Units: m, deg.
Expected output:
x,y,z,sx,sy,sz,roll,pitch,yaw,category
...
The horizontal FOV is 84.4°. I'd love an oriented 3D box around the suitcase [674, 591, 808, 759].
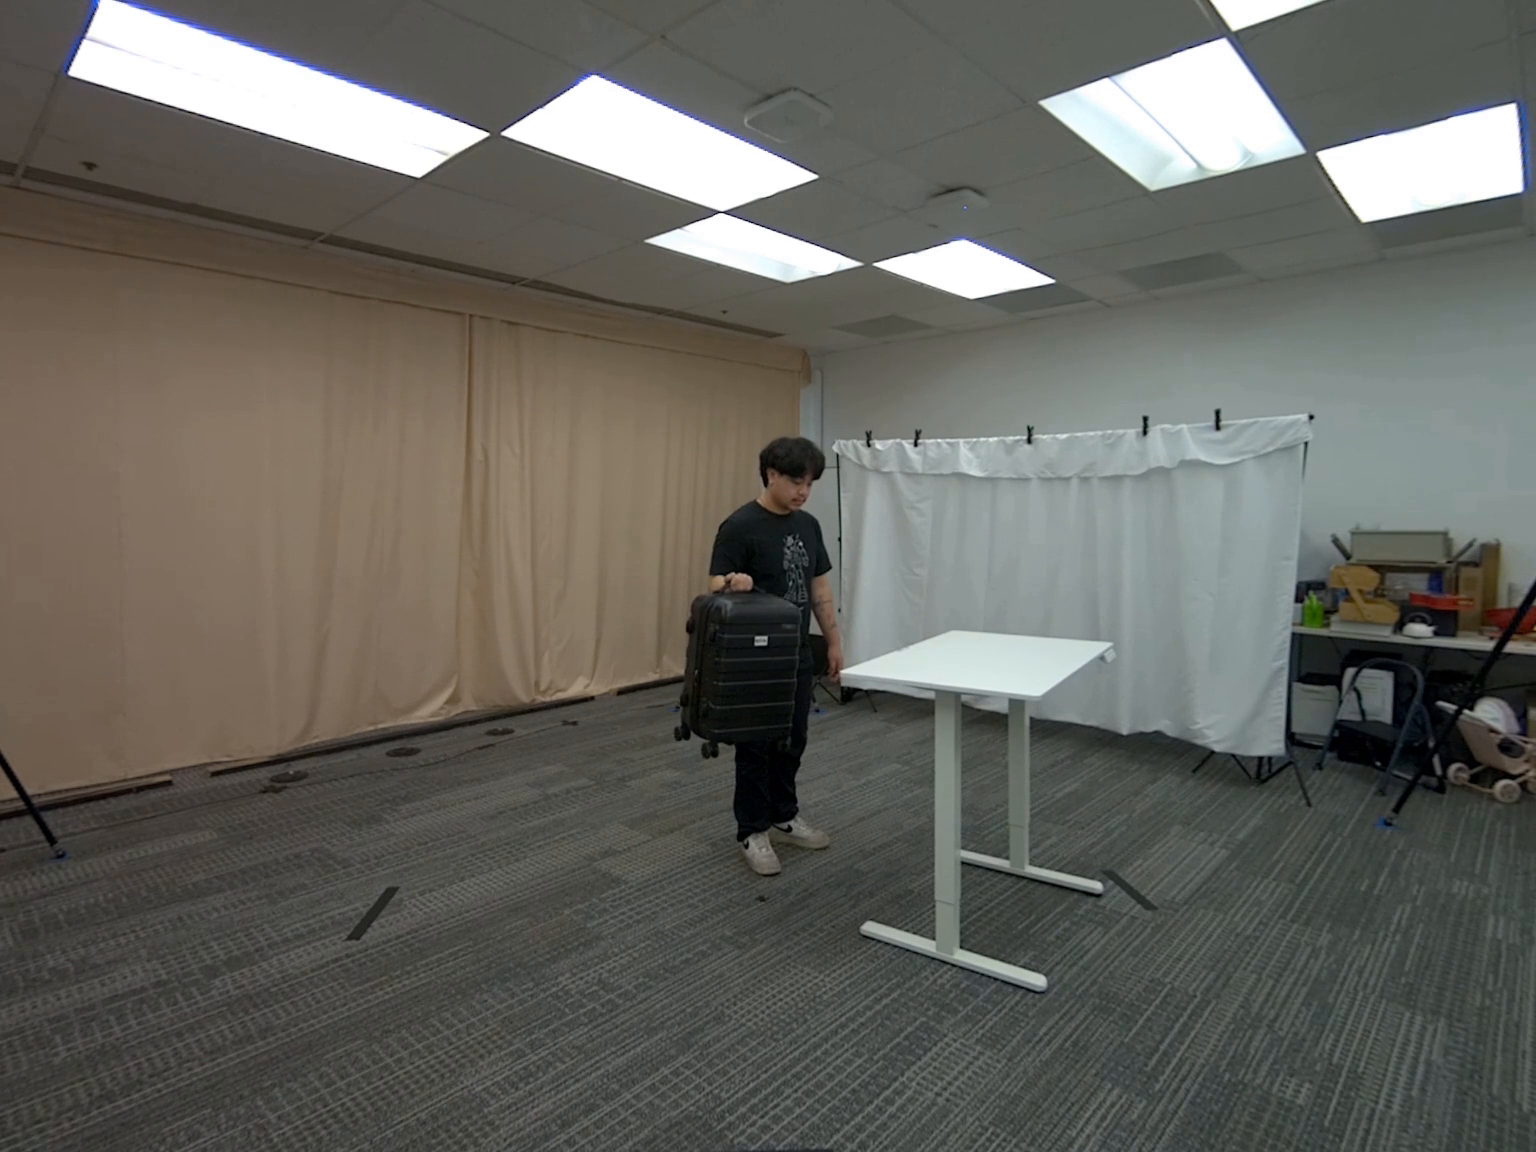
x,y,z,sx,sy,sz,roll,pitch,yaw,category
-0.092,0.326,2.964,0.365,0.548,0.256,2,6,-31,suitcase
